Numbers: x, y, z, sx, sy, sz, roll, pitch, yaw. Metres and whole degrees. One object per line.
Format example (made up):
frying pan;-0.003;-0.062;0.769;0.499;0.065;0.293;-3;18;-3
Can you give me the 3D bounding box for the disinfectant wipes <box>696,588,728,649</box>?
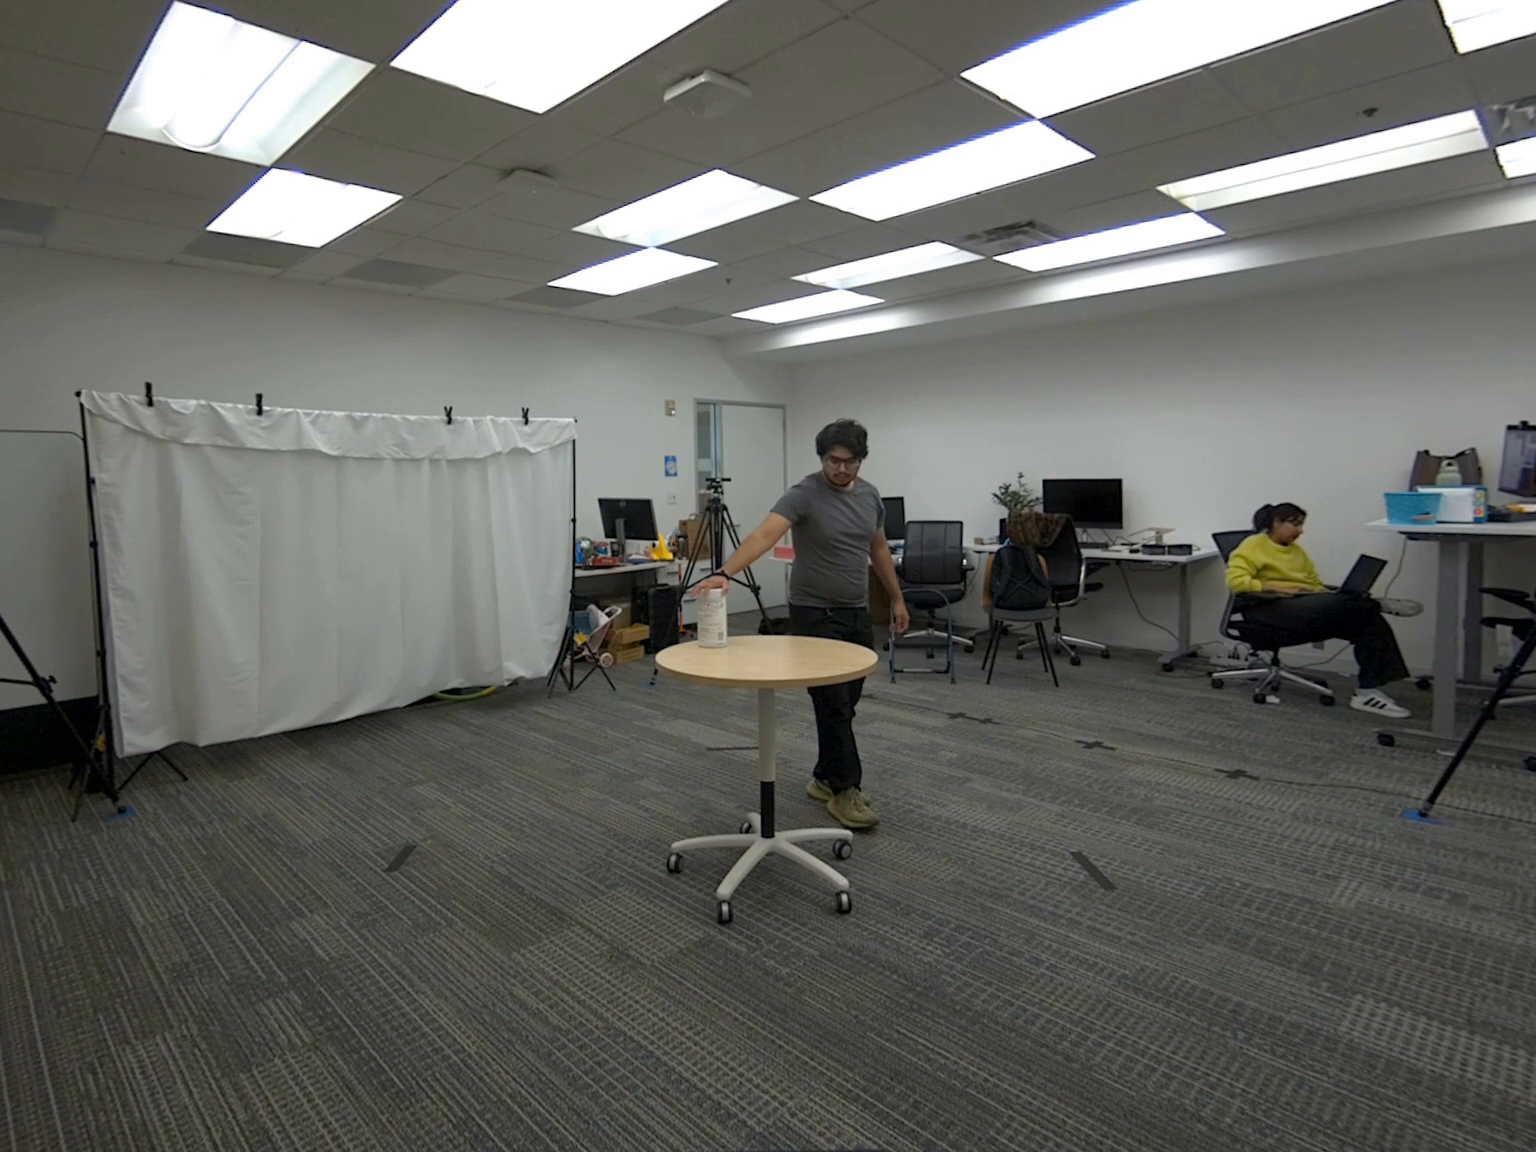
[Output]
disinfectant wipes;-0.198;0.153;3.148;0.118;0.217;0.118;-1;0;-2
